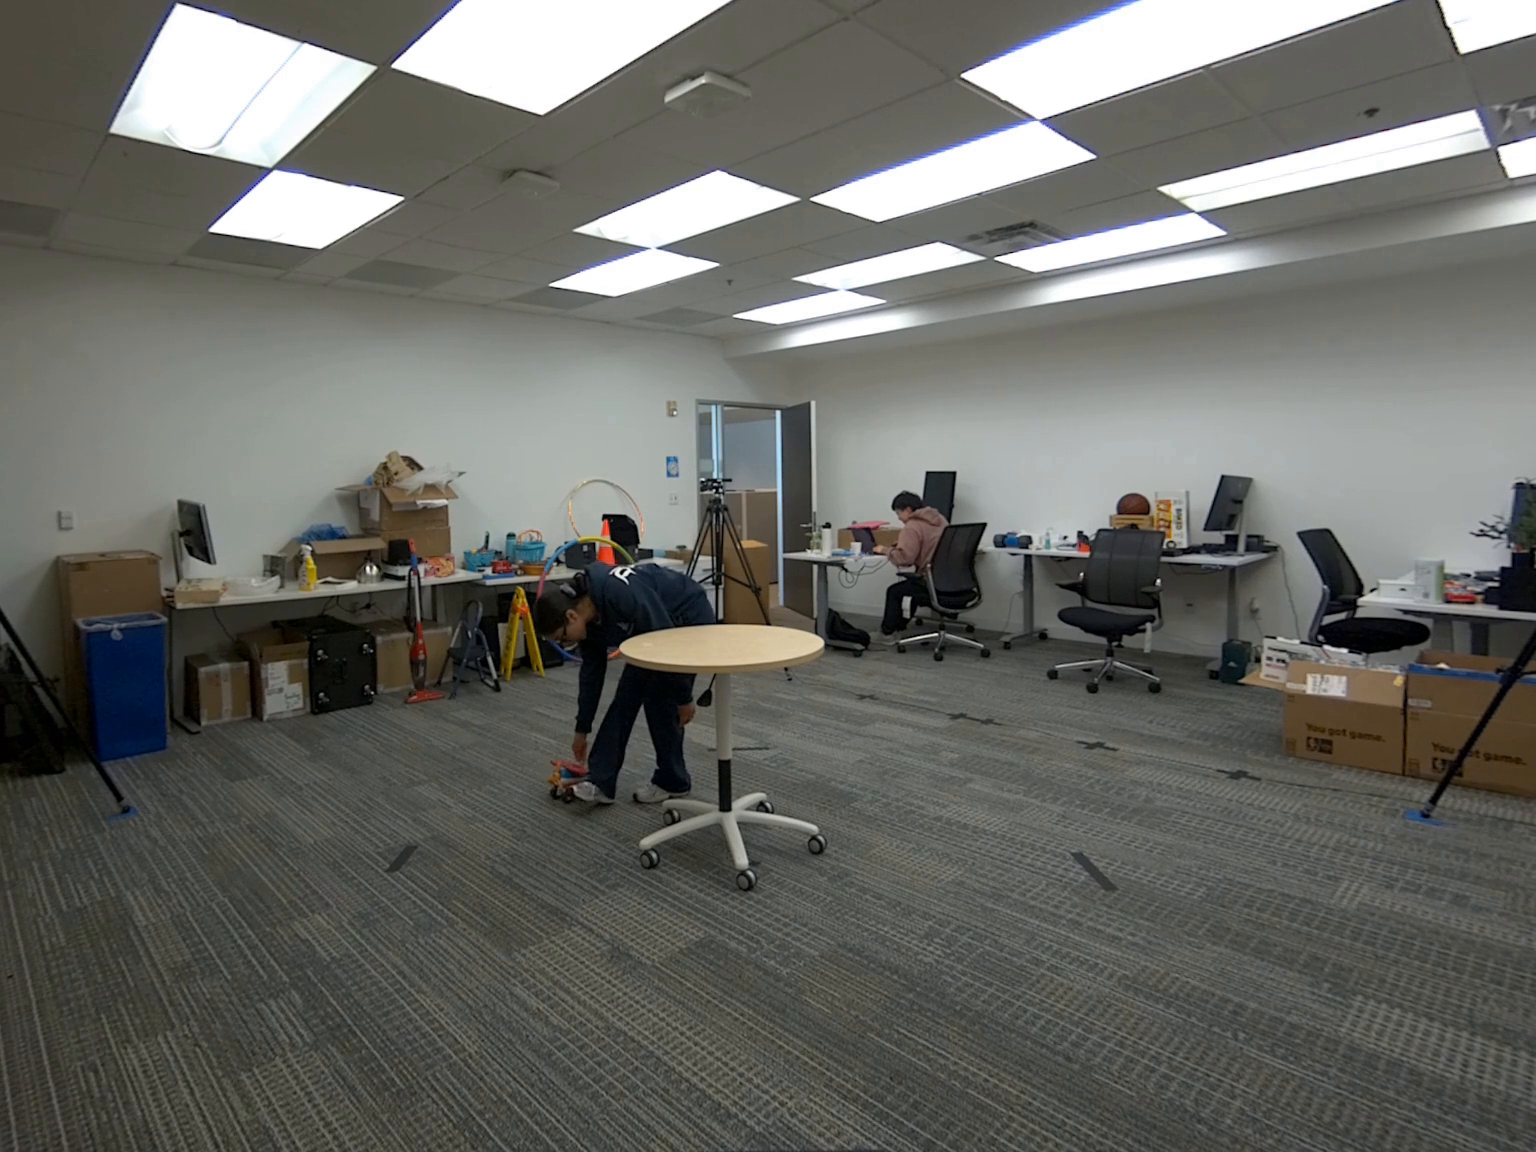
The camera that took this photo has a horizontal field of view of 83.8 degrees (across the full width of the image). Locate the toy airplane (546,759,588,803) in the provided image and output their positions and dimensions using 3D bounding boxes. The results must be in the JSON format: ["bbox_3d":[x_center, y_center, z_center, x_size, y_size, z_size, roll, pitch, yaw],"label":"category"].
[{"bbox_3d":[-0.866,0.905,3.831,0.254,0.155,0.258,1,9,11],"label":"toy airplane"}]
